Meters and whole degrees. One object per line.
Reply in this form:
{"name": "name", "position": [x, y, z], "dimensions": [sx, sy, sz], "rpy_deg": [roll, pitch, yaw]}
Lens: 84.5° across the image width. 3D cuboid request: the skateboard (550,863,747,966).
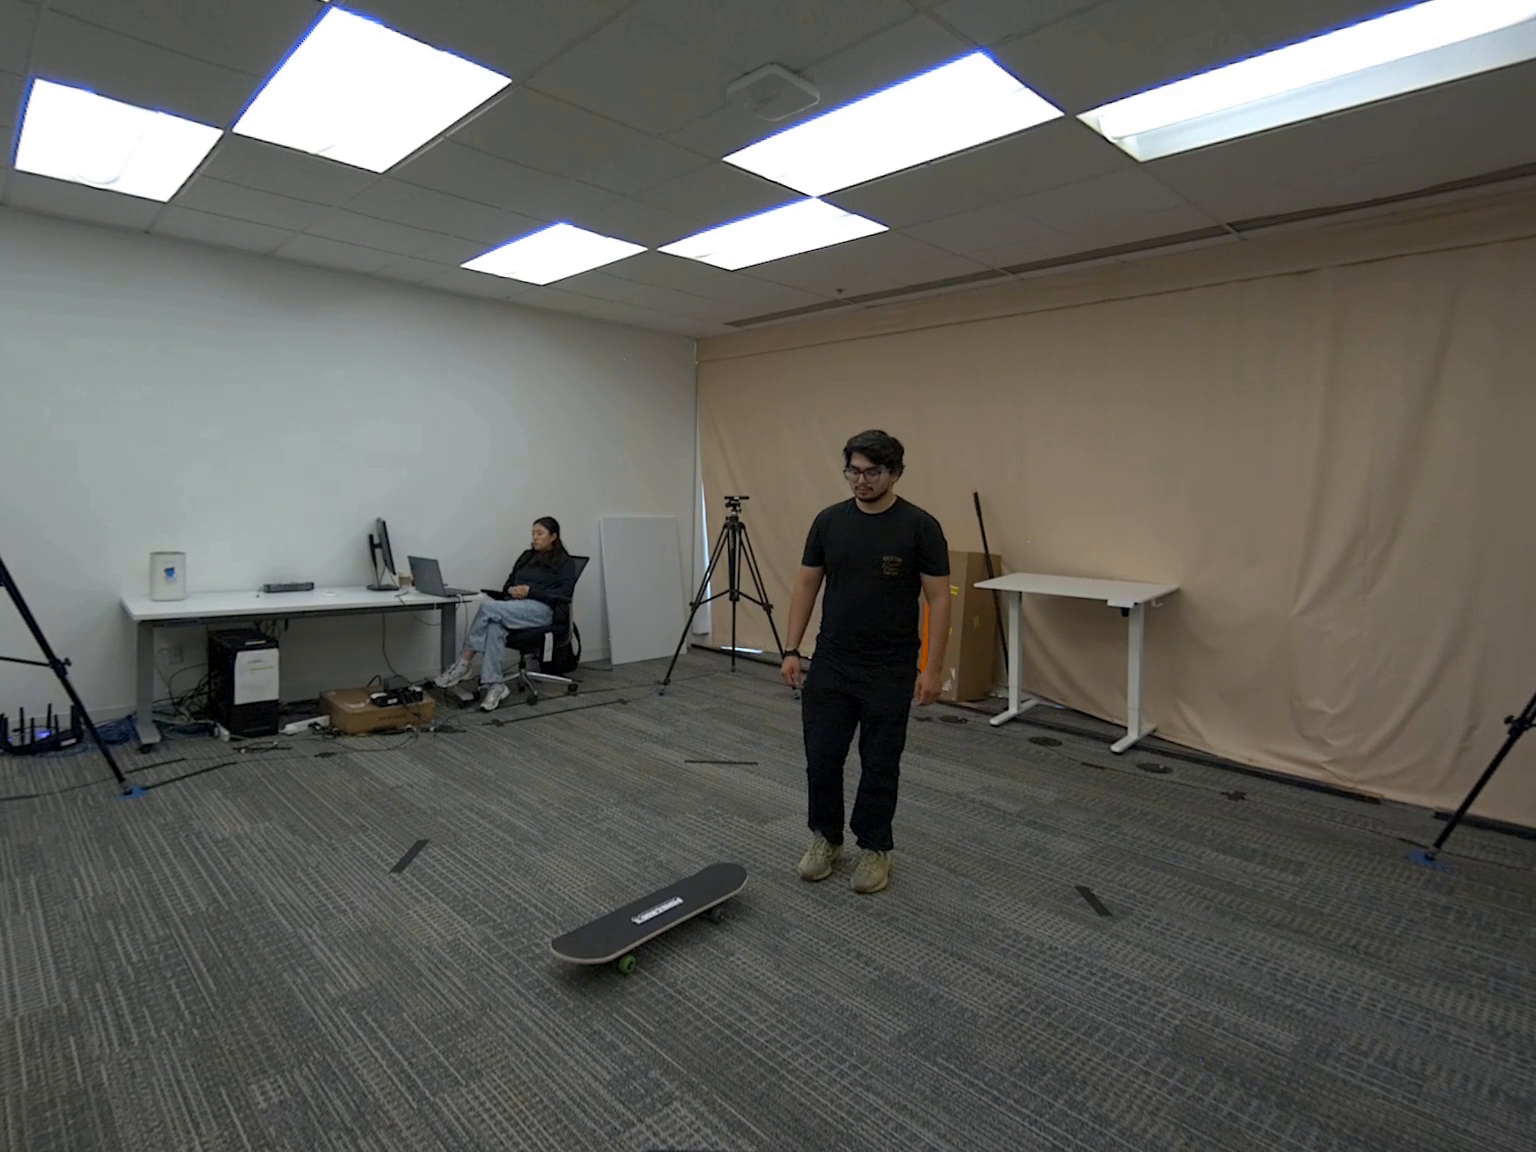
{"name": "skateboard", "position": [-0.350, 1.080, 2.650], "dimensions": [0.198, 0.110, 0.768], "rpy_deg": [4, 6, 39]}
